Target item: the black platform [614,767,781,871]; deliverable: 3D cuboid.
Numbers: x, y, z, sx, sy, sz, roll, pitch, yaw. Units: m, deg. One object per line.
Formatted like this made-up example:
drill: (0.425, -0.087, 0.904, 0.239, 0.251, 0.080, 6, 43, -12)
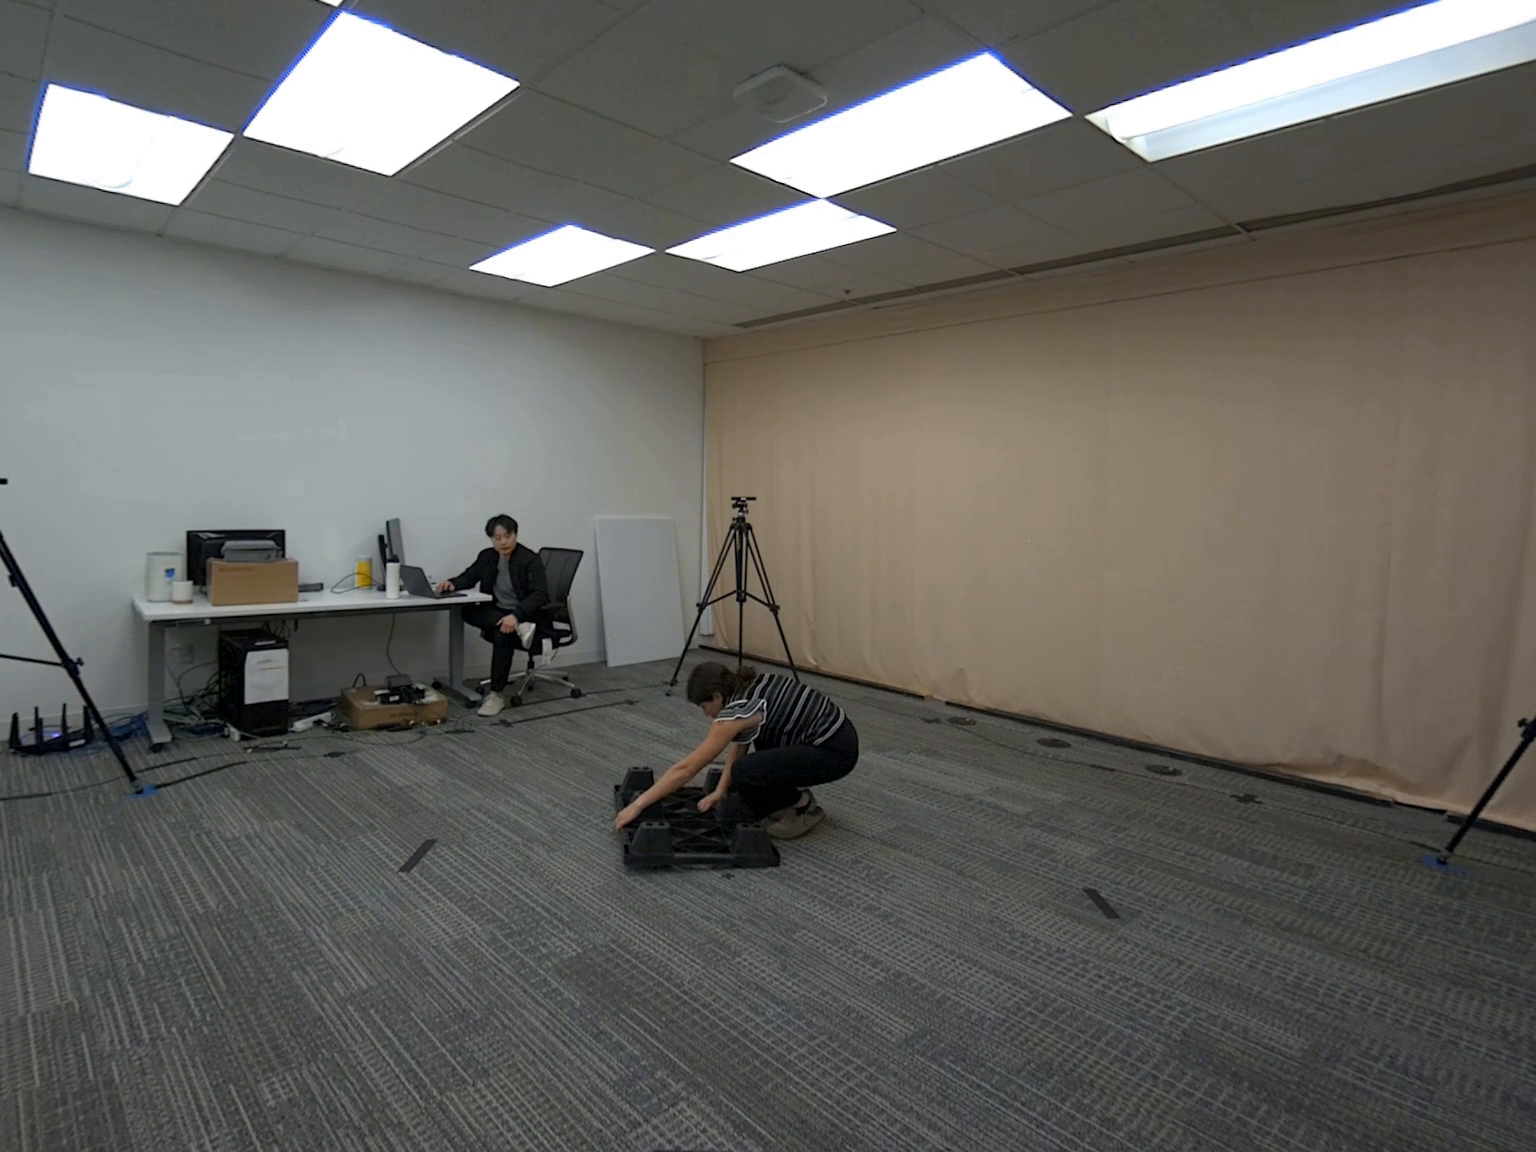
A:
black platform: (-0.336, 0.981, 3.522, 0.599, 0.143, 0.816, 4, 4, -13)
